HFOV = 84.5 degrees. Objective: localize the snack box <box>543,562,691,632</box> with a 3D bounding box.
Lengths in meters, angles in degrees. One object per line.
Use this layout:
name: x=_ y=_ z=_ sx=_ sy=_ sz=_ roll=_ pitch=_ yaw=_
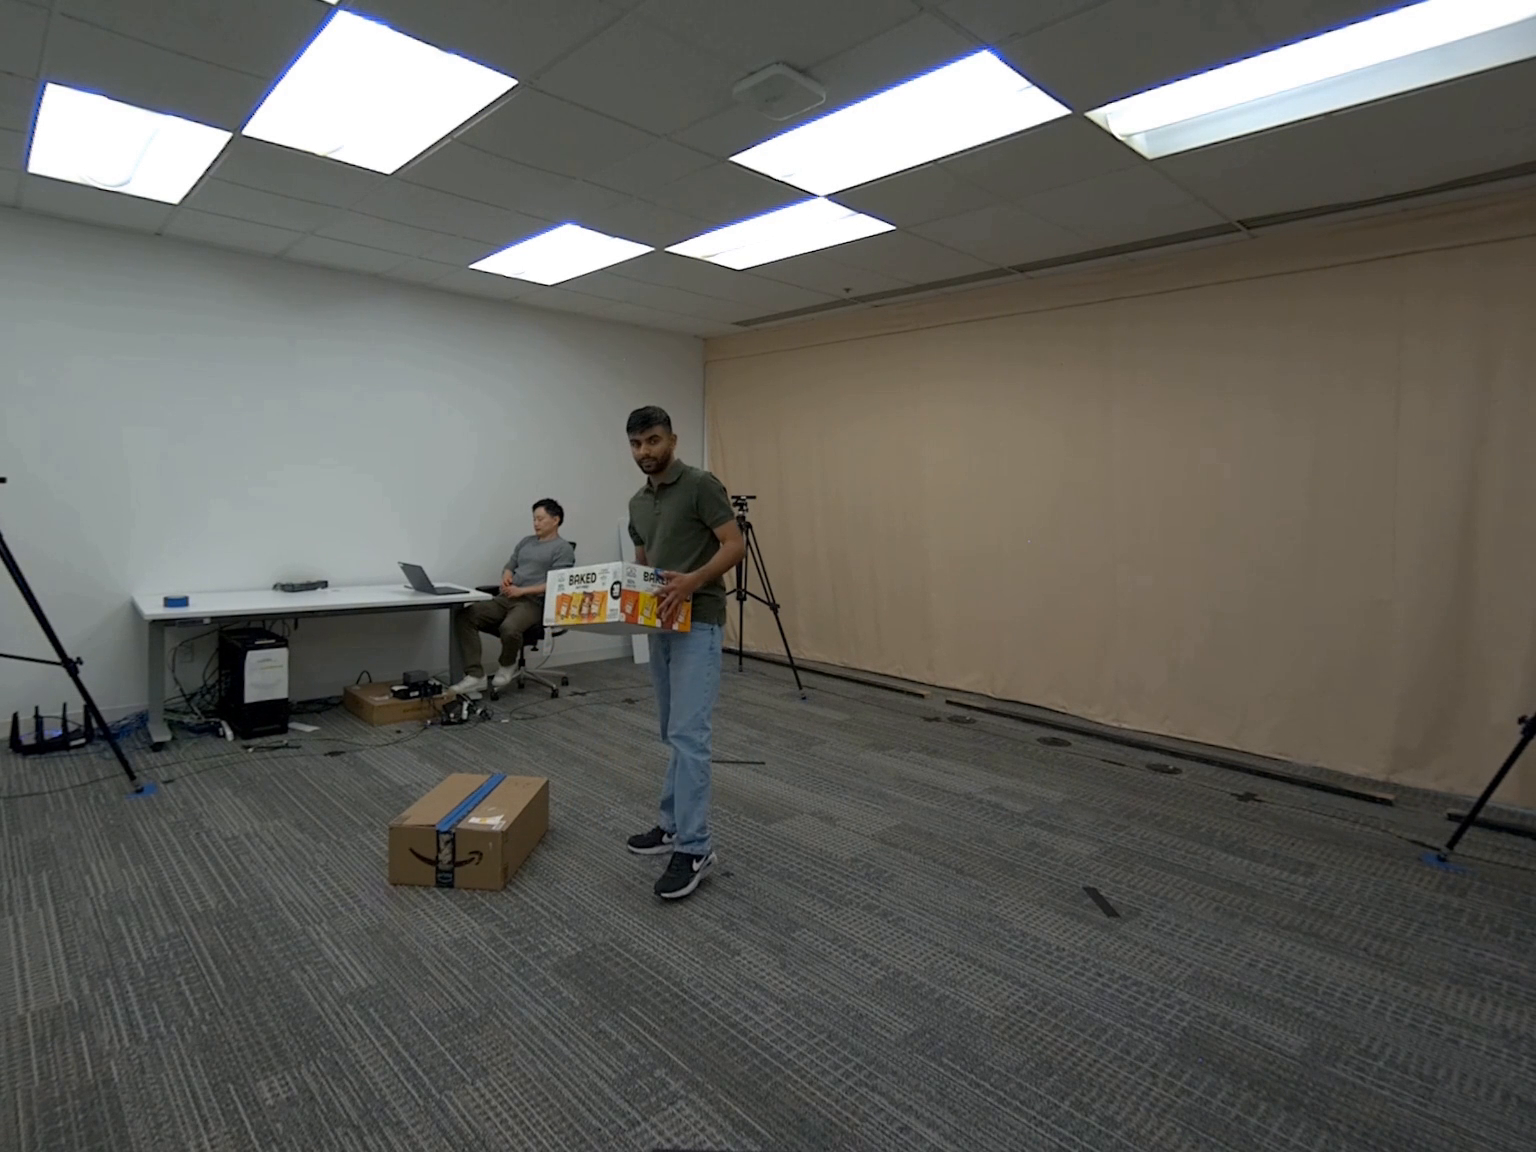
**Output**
snack box: x=-0.547 y=0.089 z=3.024 sx=0.414 sy=0.207 sz=0.331 roll=-5 pitch=-13 yaw=39
